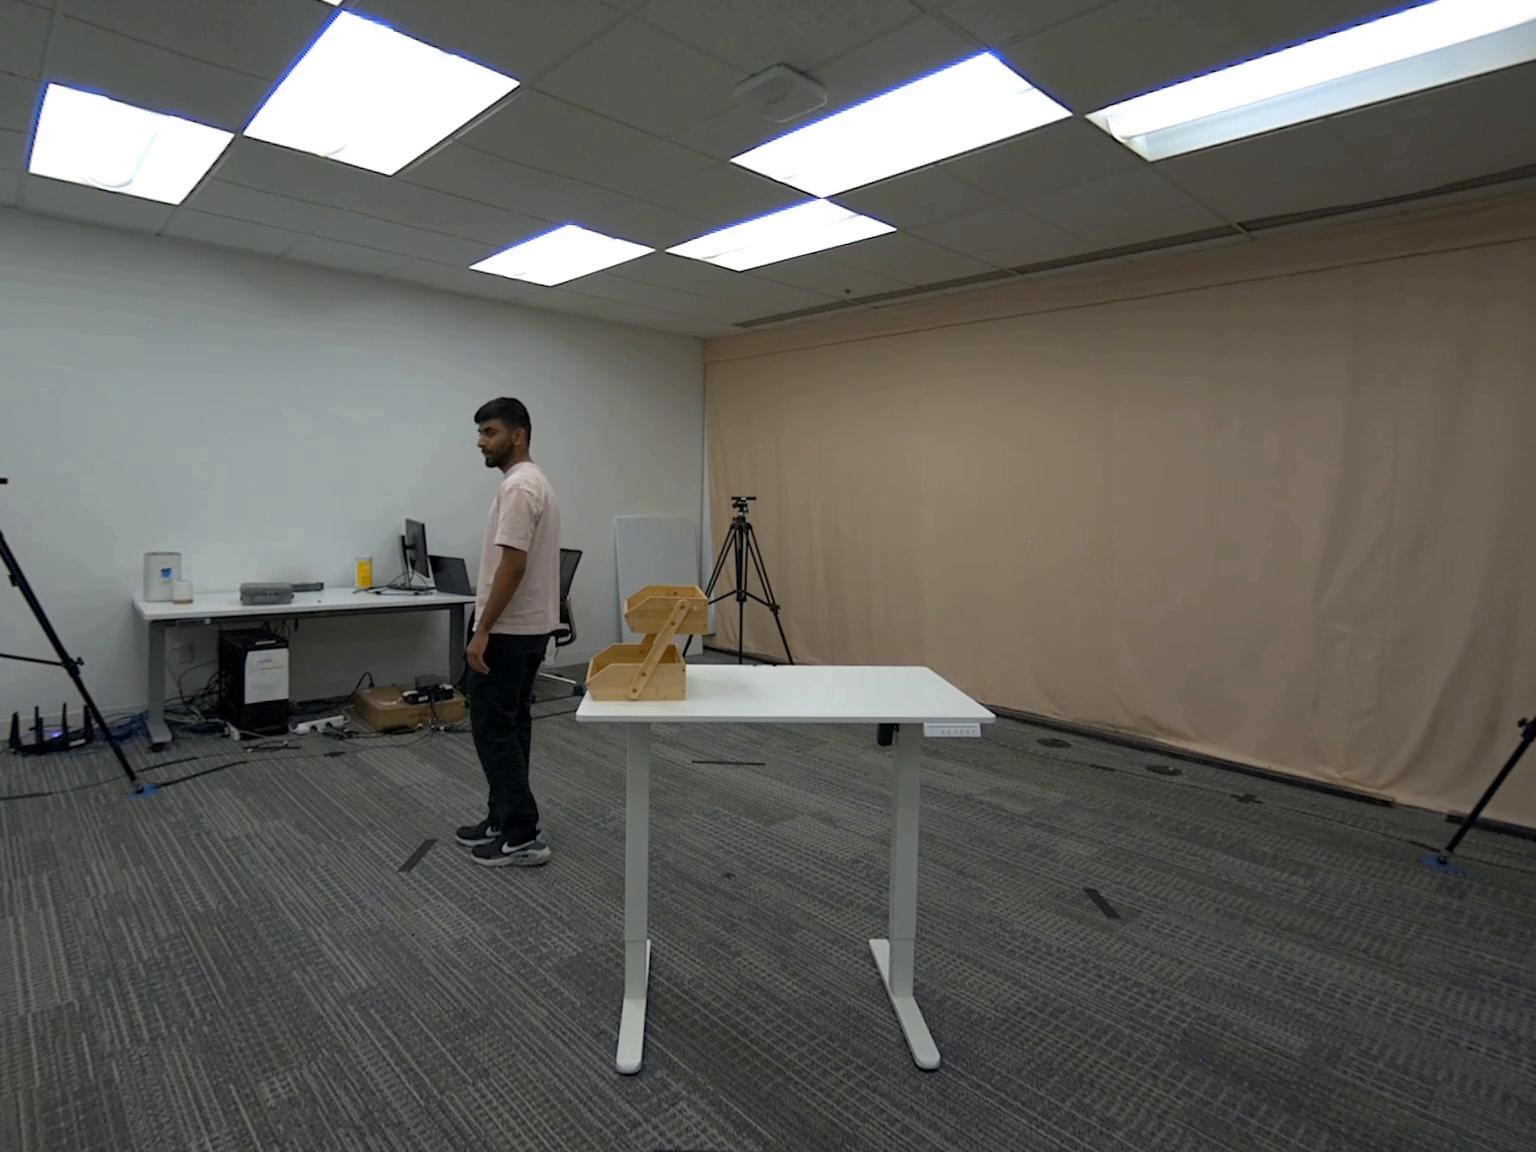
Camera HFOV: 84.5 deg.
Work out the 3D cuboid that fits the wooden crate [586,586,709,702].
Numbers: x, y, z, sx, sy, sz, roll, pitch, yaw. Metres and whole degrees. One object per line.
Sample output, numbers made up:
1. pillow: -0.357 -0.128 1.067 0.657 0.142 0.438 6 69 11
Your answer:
1. wooden crate: -0.341 0.172 2.236 0.300 0.272 0.327 1 4 -8
